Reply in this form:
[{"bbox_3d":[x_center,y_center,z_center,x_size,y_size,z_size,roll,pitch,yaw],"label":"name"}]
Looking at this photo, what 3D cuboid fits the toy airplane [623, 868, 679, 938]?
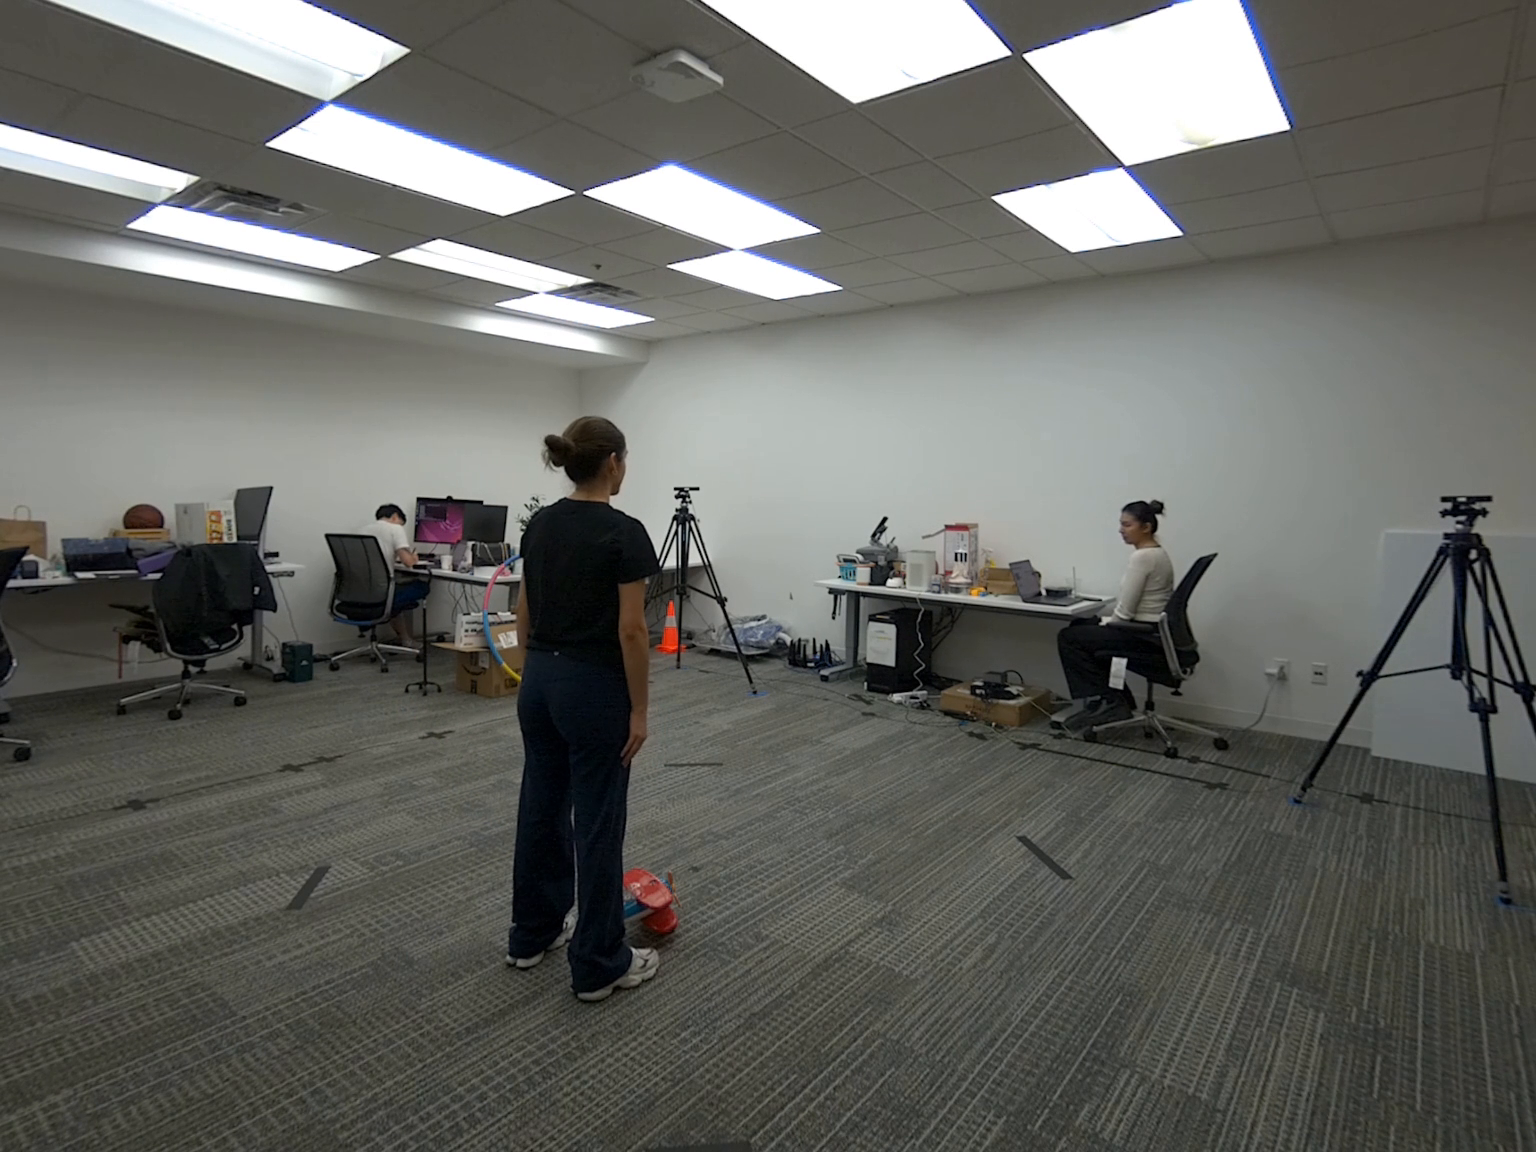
[{"bbox_3d":[-0.388,1.036,2.644,0.258,0.156,0.252,3,3,30],"label":"toy airplane"}]
